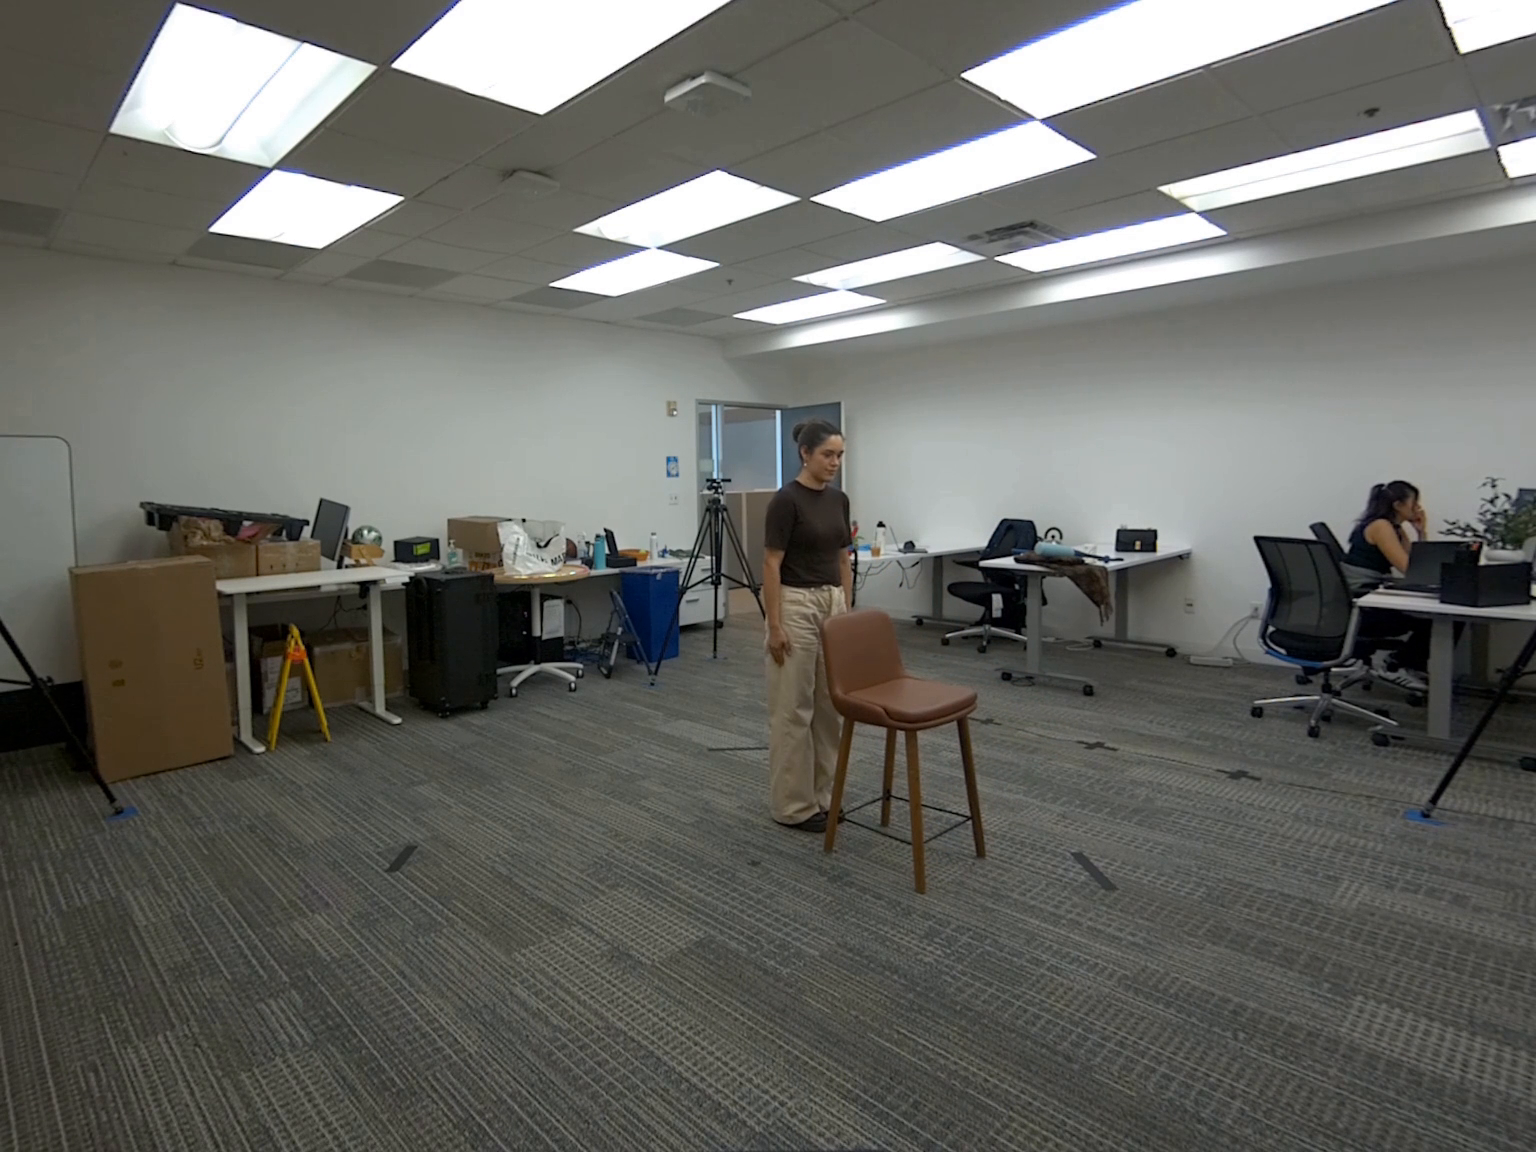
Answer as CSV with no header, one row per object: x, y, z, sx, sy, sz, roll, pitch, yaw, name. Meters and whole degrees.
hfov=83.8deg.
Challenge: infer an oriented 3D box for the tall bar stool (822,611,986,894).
0.487,0.593,3.135,0.444,0.888,0.481,-3,2,-44,tall bar stool
